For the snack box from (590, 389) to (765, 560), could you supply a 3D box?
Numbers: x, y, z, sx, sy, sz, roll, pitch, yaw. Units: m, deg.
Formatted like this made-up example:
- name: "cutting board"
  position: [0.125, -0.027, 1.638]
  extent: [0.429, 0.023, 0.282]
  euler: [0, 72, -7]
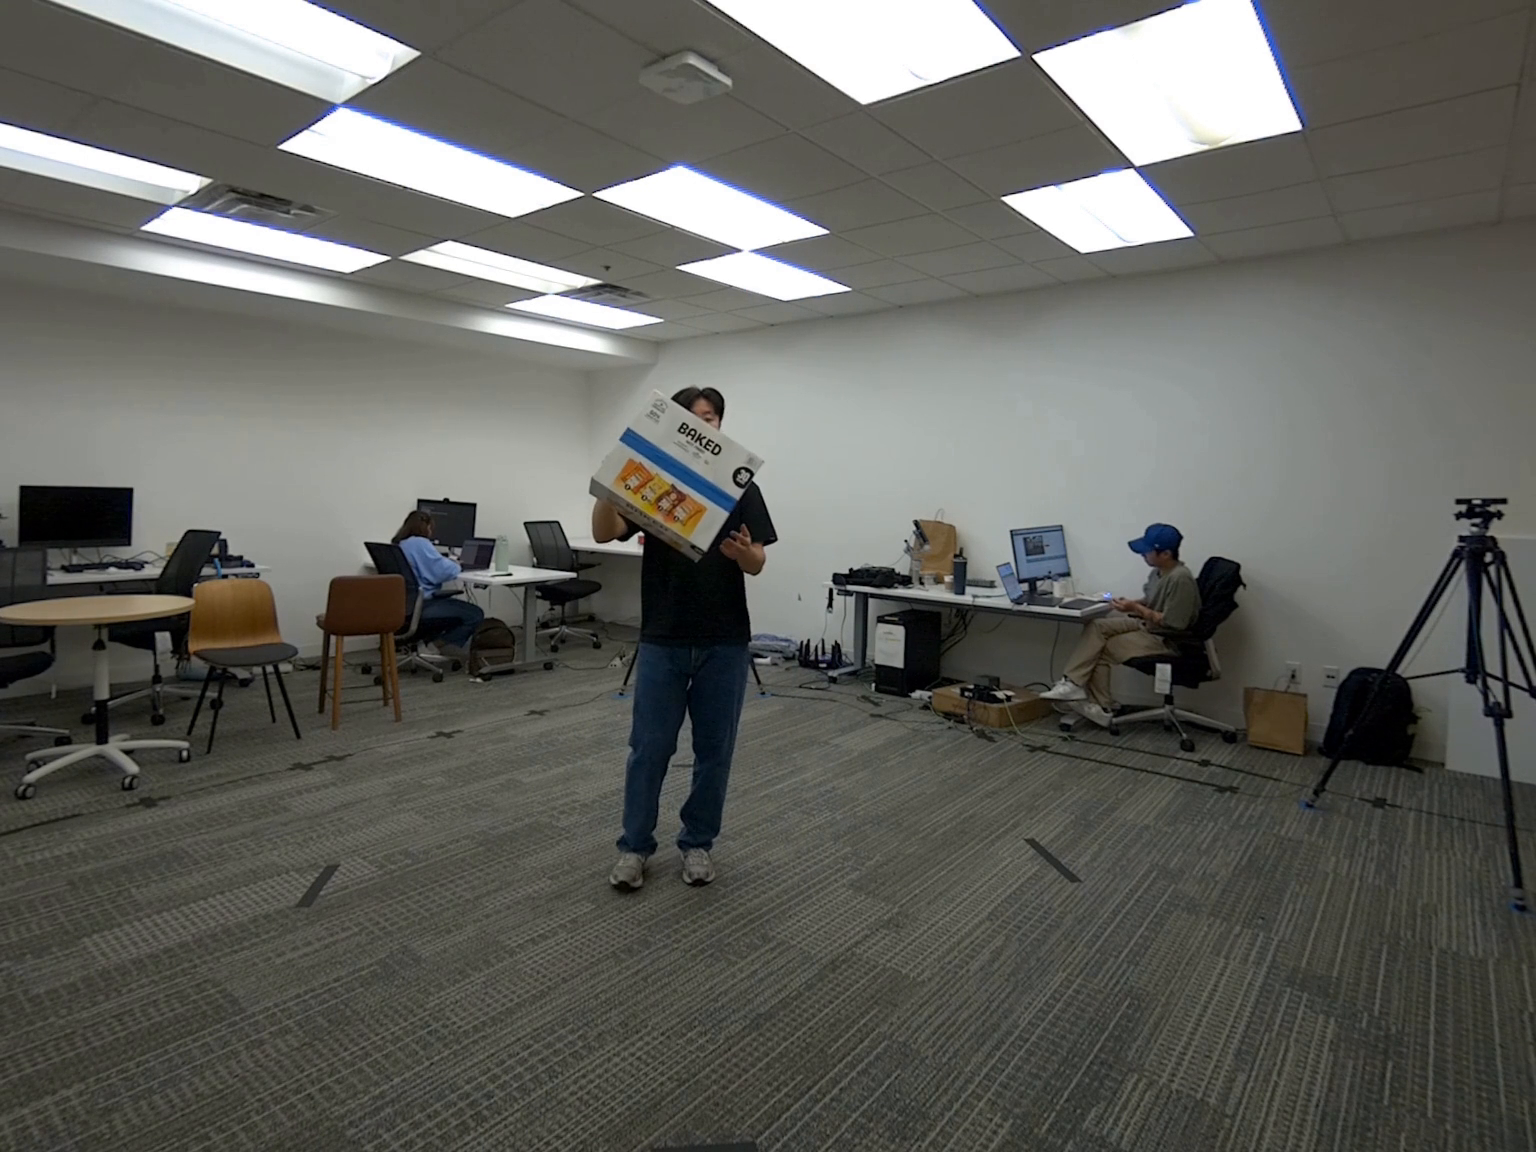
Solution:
- name: "snack box"
  position: [-0.292, -0.307, 2.638]
  extent: [0.404, 0.341, 0.206]
  euler: [33, -14, -3]
